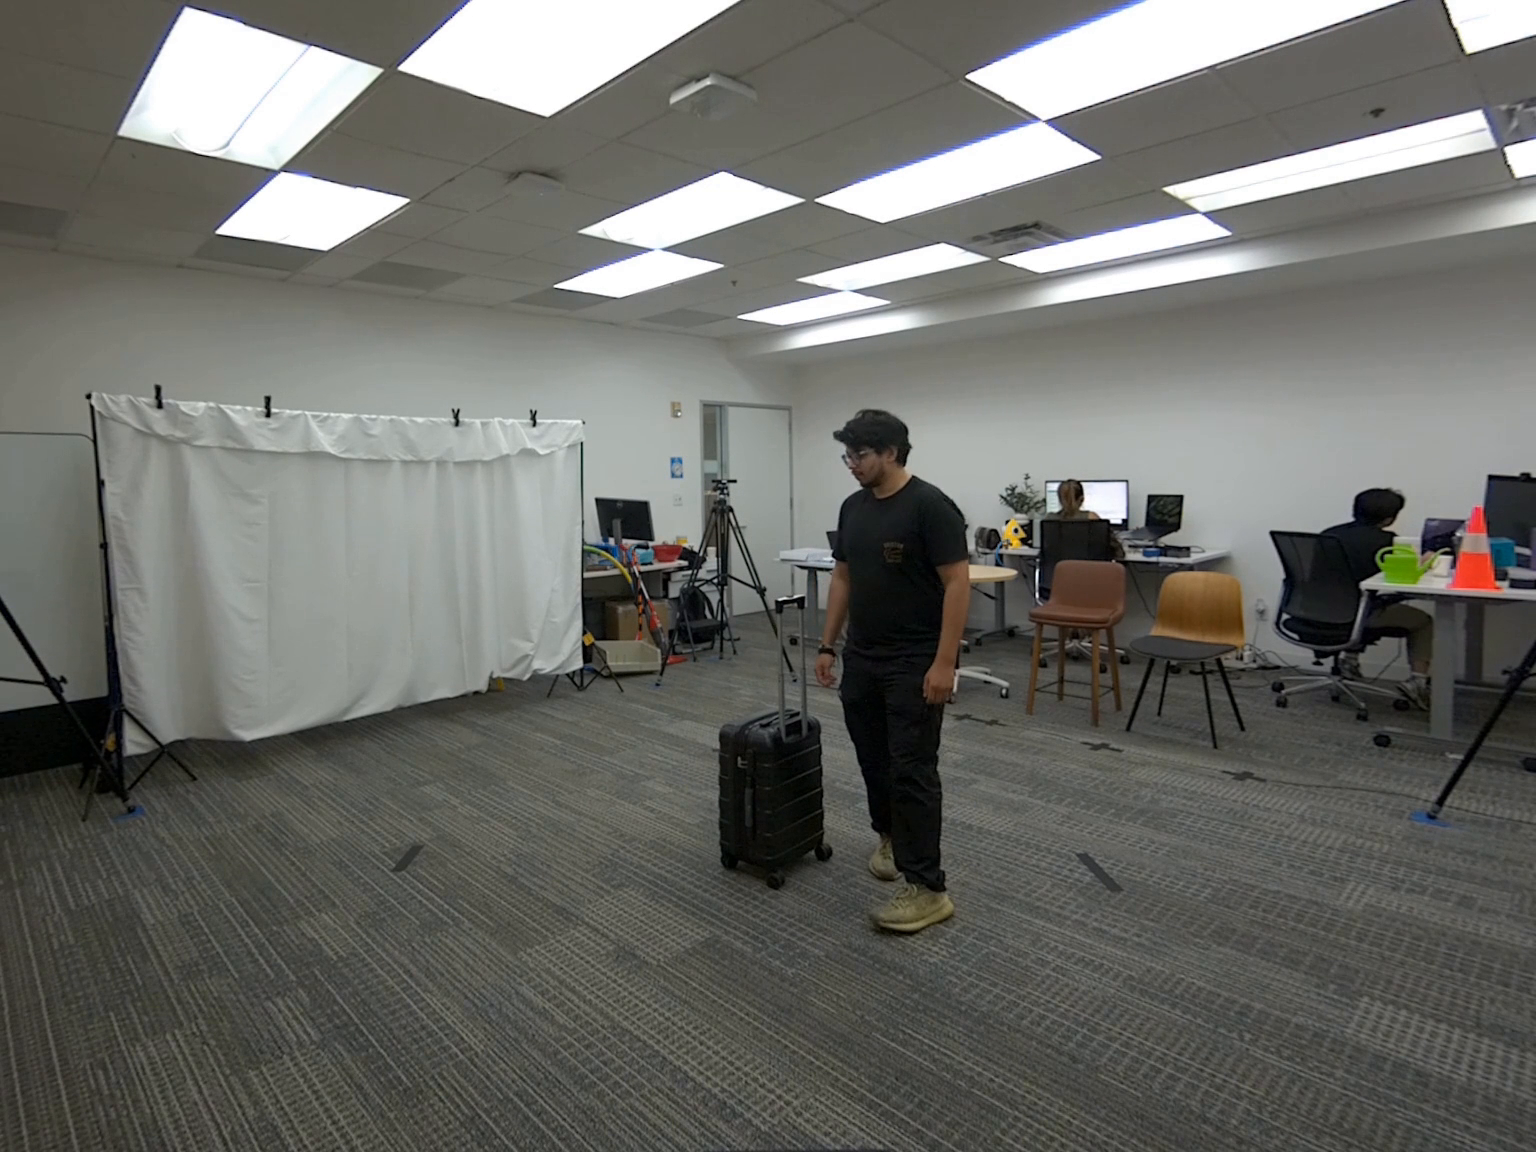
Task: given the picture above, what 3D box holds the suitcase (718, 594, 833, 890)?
[{"bbox_3d":[0.000,0.572,3.096,0.264,0.977,0.374,-2,2,42],"label":"suitcase"}]
